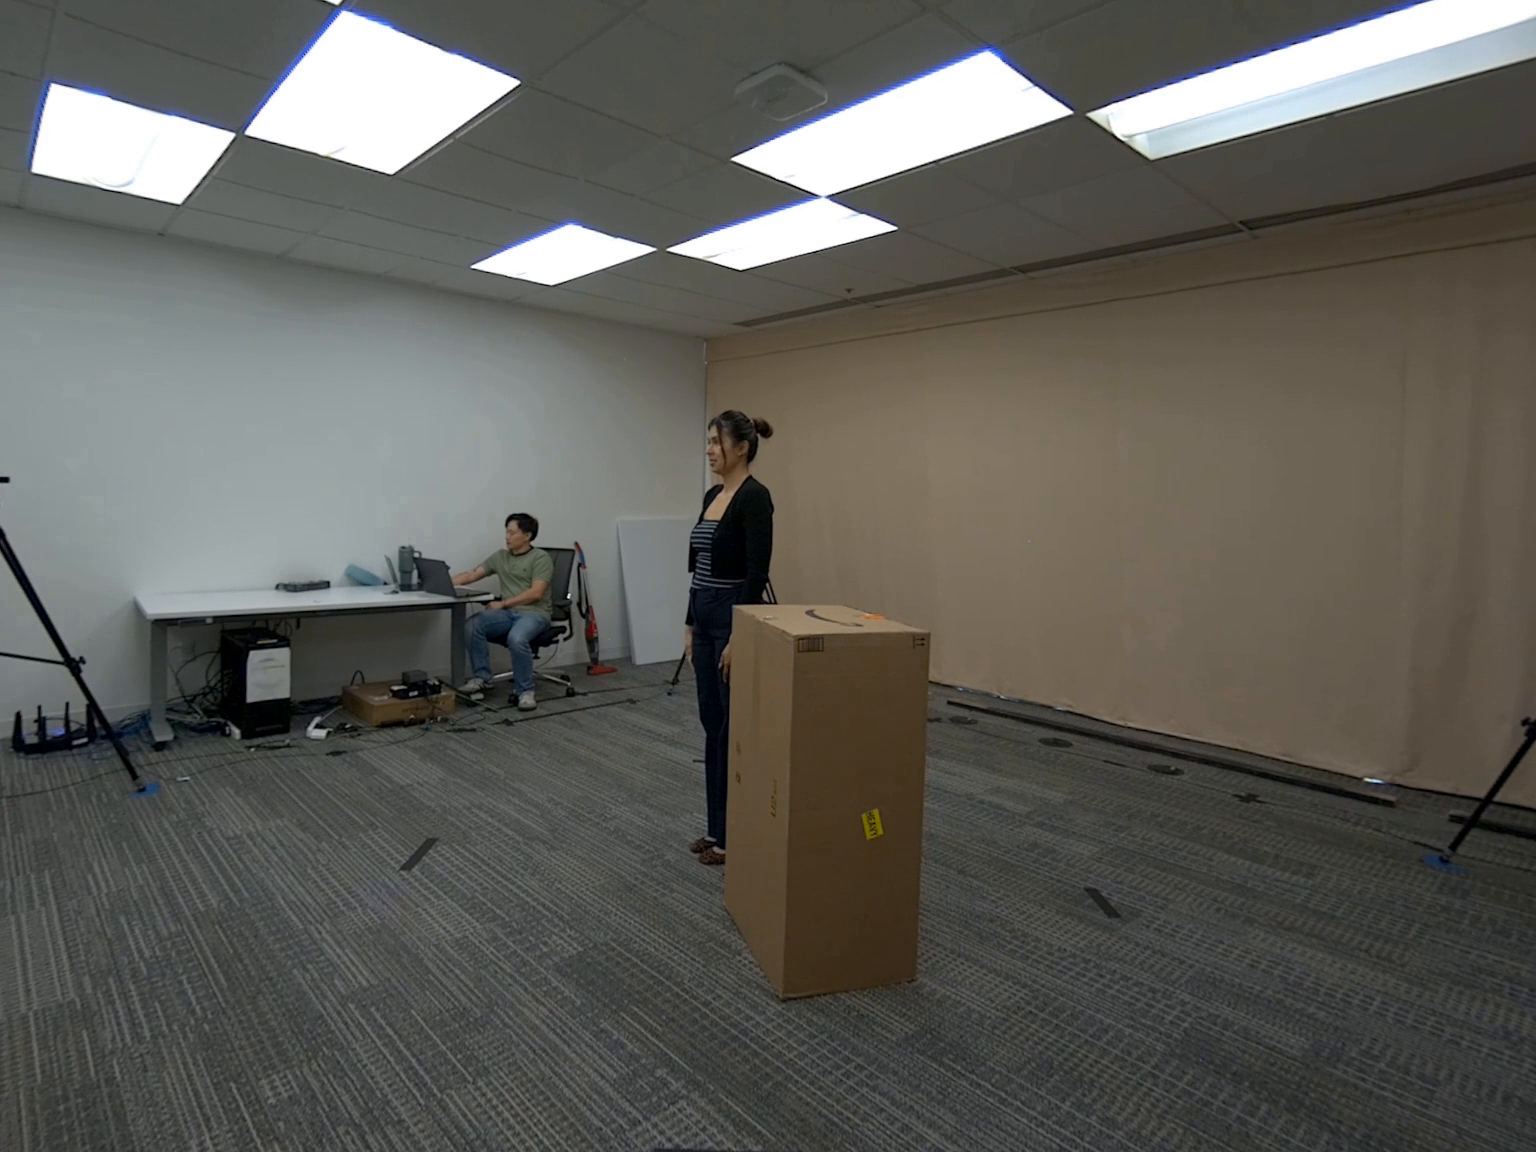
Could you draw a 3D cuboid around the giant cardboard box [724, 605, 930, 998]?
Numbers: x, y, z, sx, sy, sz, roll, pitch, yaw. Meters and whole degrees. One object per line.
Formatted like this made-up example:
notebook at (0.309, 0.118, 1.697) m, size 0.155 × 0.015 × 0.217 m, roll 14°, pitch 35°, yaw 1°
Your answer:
giant cardboard box at (0.157, 0.640, 2.631) m, size 0.420 × 1.023 × 0.587 m, roll 1°, pitch 4°, yaw -18°
